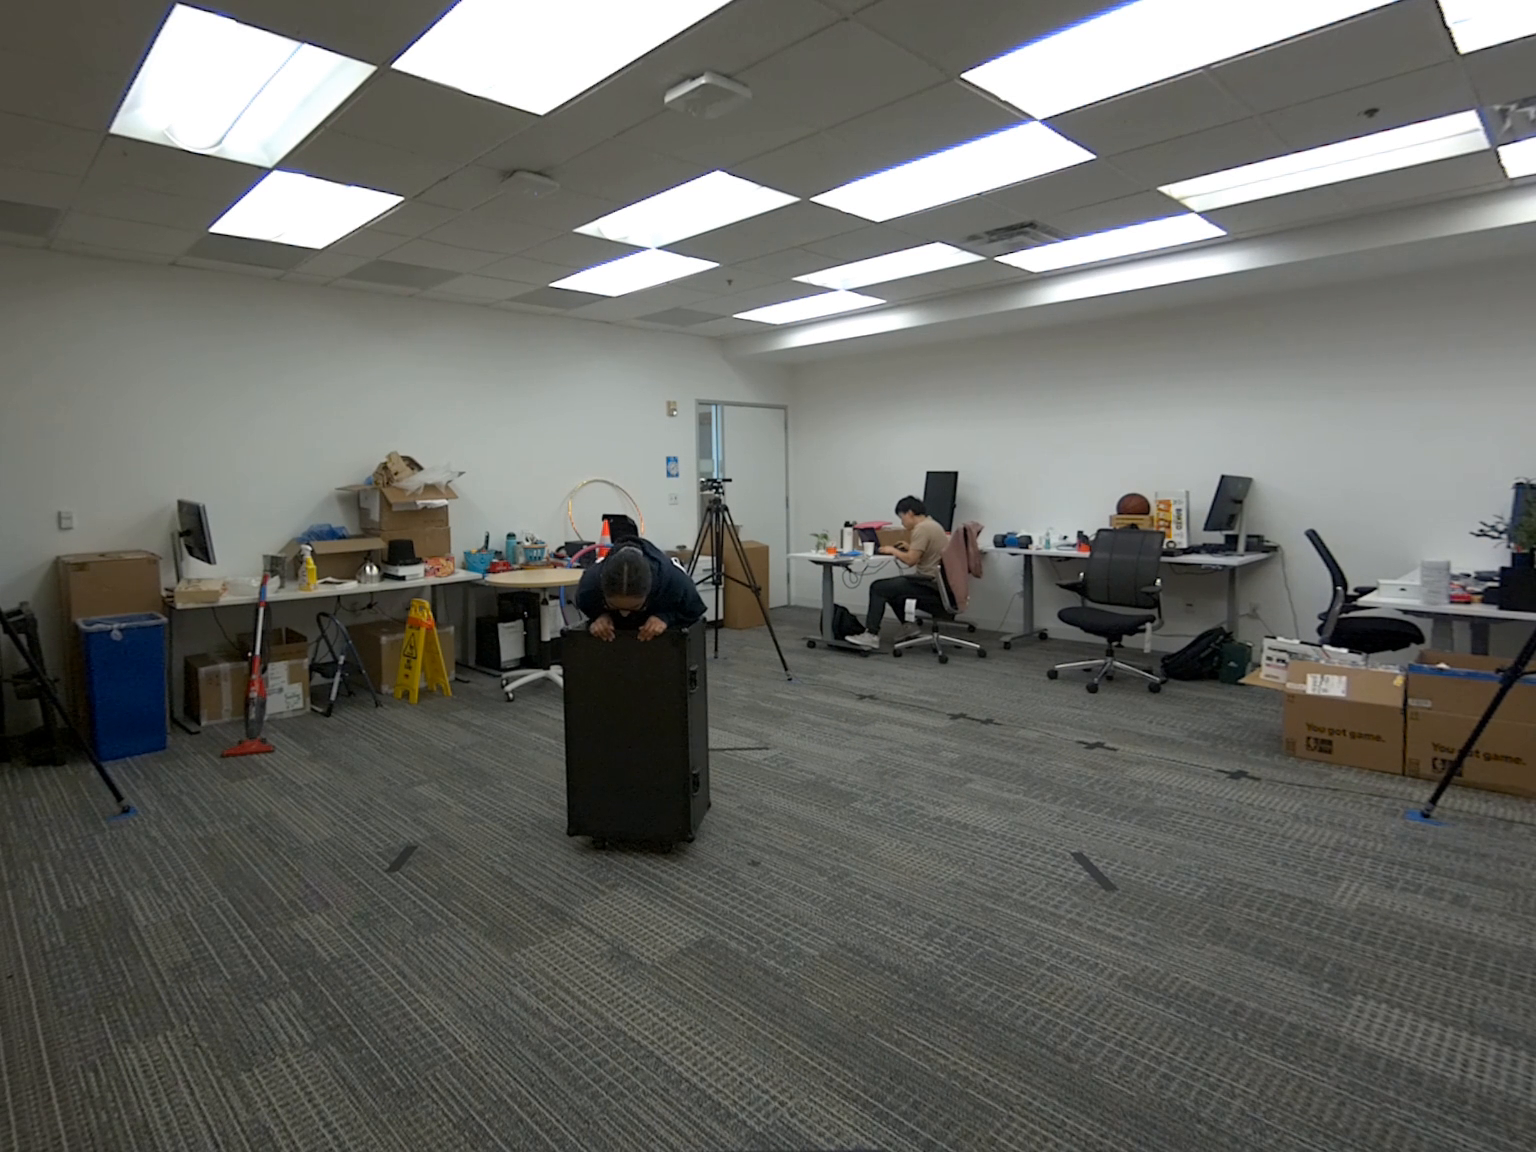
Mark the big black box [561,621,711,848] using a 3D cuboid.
[{"bbox_3d":[-0.501,0.605,3.332,0.526,0.859,0.393,-1,3,10],"label":"big black box"}]
